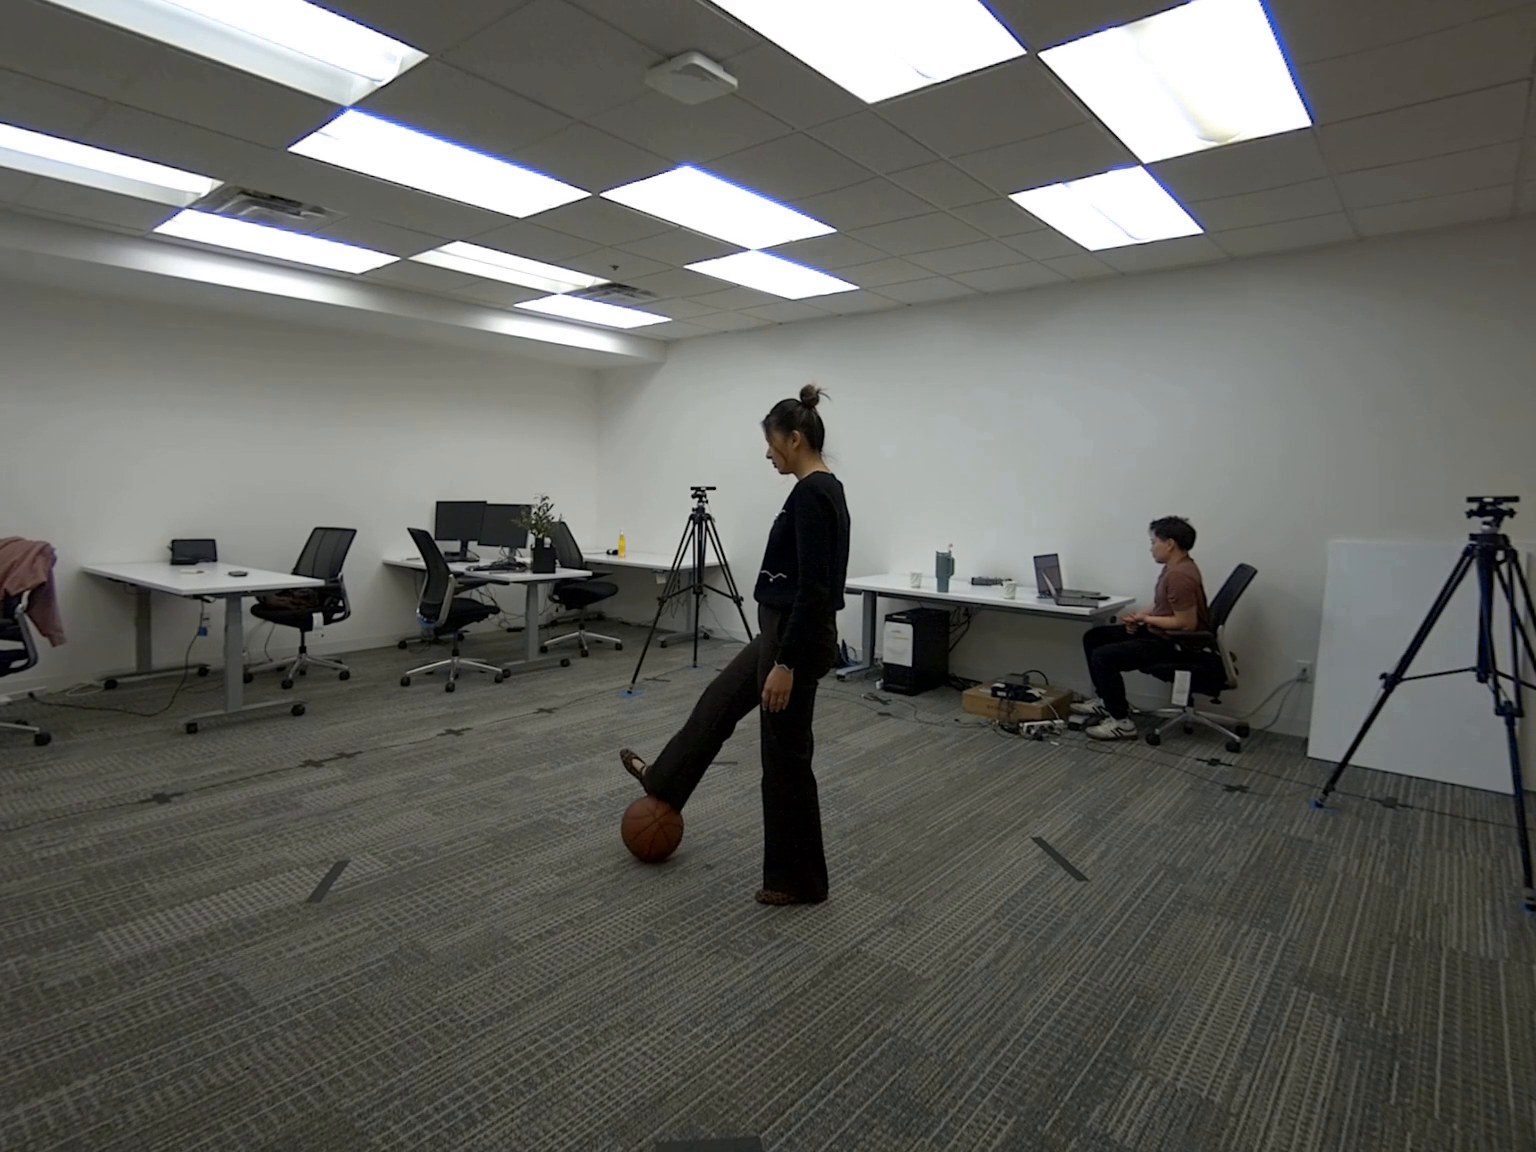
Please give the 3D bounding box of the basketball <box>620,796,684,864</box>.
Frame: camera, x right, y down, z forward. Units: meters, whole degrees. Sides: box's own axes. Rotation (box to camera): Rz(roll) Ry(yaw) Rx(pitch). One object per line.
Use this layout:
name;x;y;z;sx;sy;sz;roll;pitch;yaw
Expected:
basketball;-0.440;0.939;3.182;0.235;0.235;0.237;1;4;-2
